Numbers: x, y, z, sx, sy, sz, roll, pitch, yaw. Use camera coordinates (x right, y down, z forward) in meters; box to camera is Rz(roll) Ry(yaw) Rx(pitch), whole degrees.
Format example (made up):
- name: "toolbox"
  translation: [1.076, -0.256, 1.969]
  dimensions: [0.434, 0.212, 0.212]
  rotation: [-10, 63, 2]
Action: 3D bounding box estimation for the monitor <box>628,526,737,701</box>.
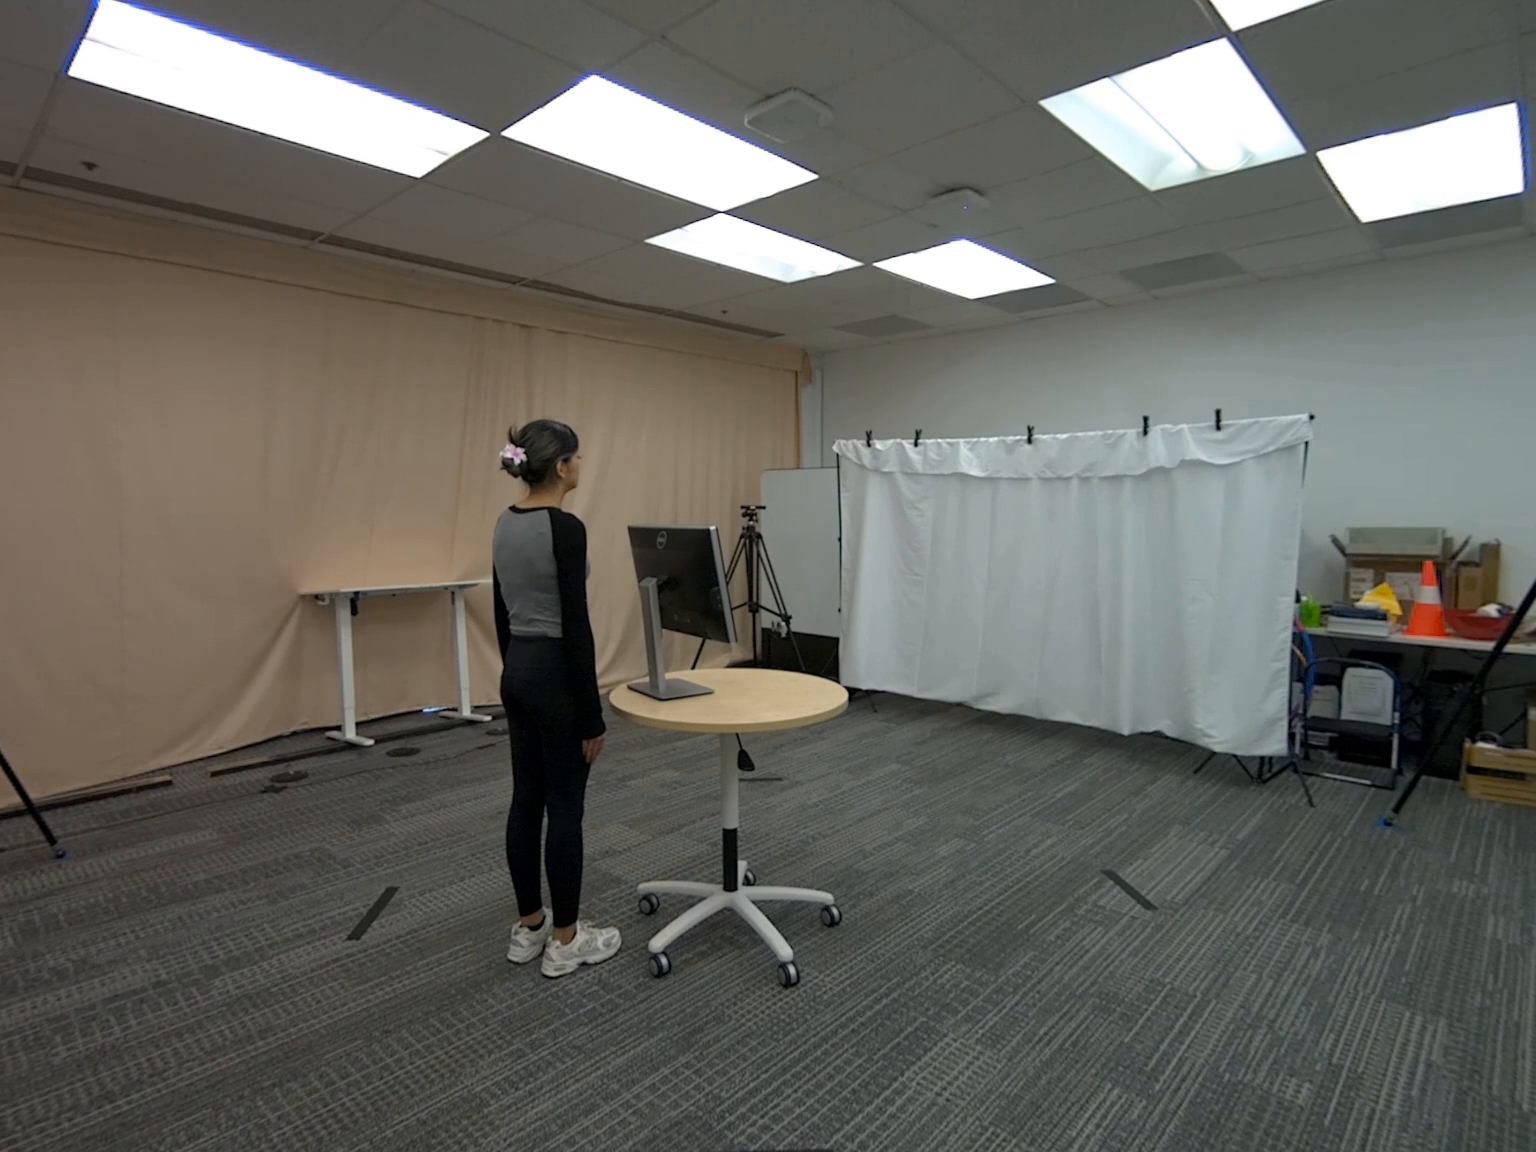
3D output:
- name: "monitor"
  translation: [-0.321, 0.109, 2.737]
  dimensions: [0.181, 0.522, 0.556]
  rotation: [-1, 4, -36]
